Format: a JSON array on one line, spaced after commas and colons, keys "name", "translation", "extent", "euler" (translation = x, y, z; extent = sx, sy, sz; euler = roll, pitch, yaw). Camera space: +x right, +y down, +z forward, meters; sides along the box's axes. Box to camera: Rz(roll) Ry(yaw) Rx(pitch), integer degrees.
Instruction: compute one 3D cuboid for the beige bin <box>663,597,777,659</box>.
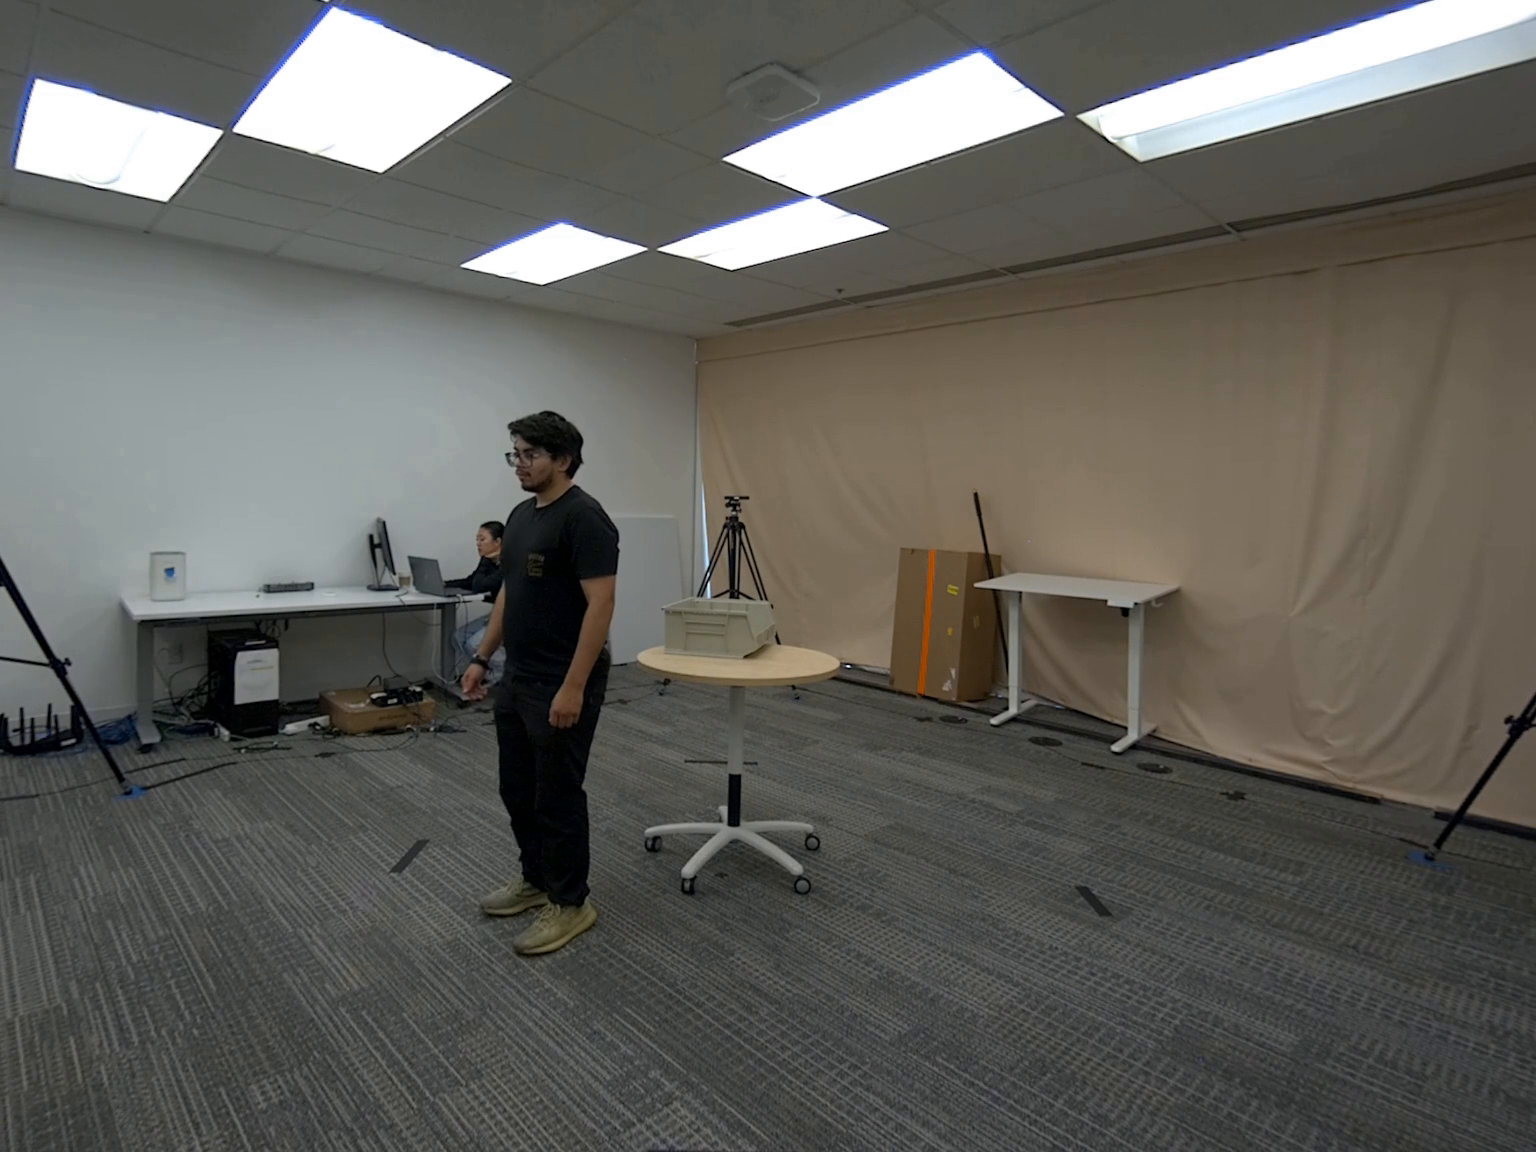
[{"name": "beige bin", "translation": [-0.191, 0.209, 3.405], "extent": [0.381, 0.188, 0.419], "euler": [2, 5, 12]}]
